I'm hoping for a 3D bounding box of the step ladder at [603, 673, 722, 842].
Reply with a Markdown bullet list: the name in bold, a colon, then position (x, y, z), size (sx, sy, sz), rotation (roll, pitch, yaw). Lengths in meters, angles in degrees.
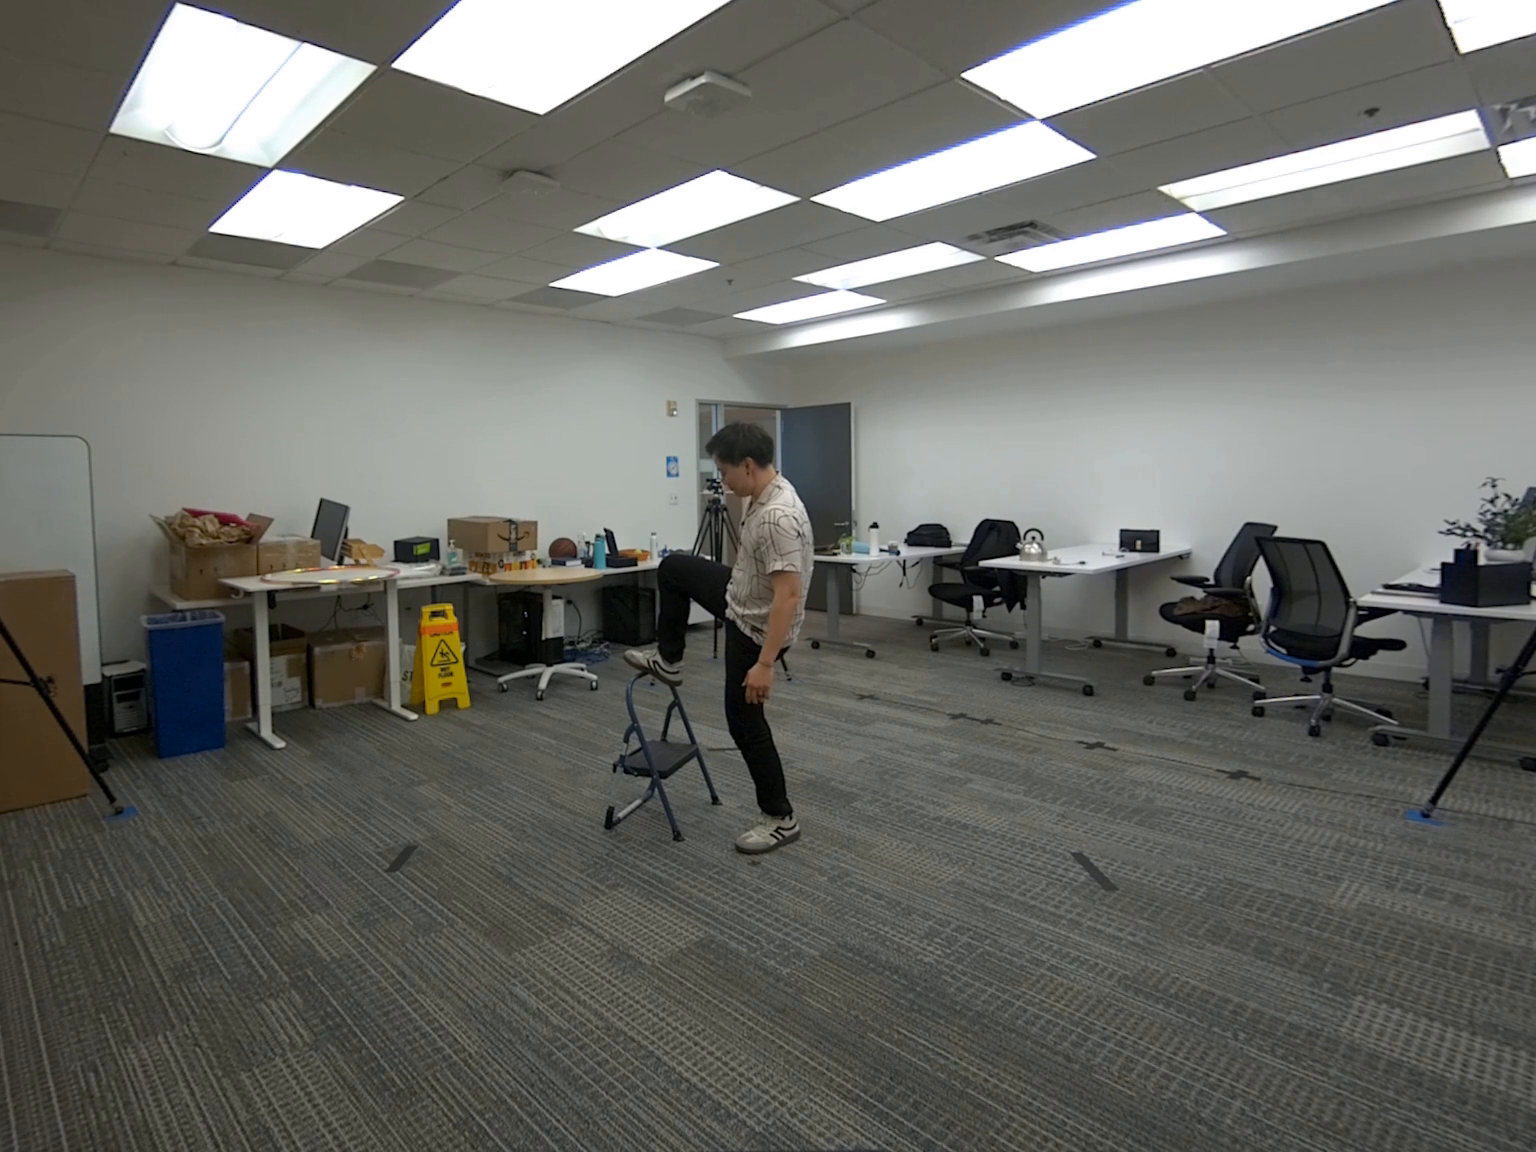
- **step ladder**: position (-0.440, 0.700, 3.545), size (0.356, 0.604, 0.424), rotation (1, 4, 19)
